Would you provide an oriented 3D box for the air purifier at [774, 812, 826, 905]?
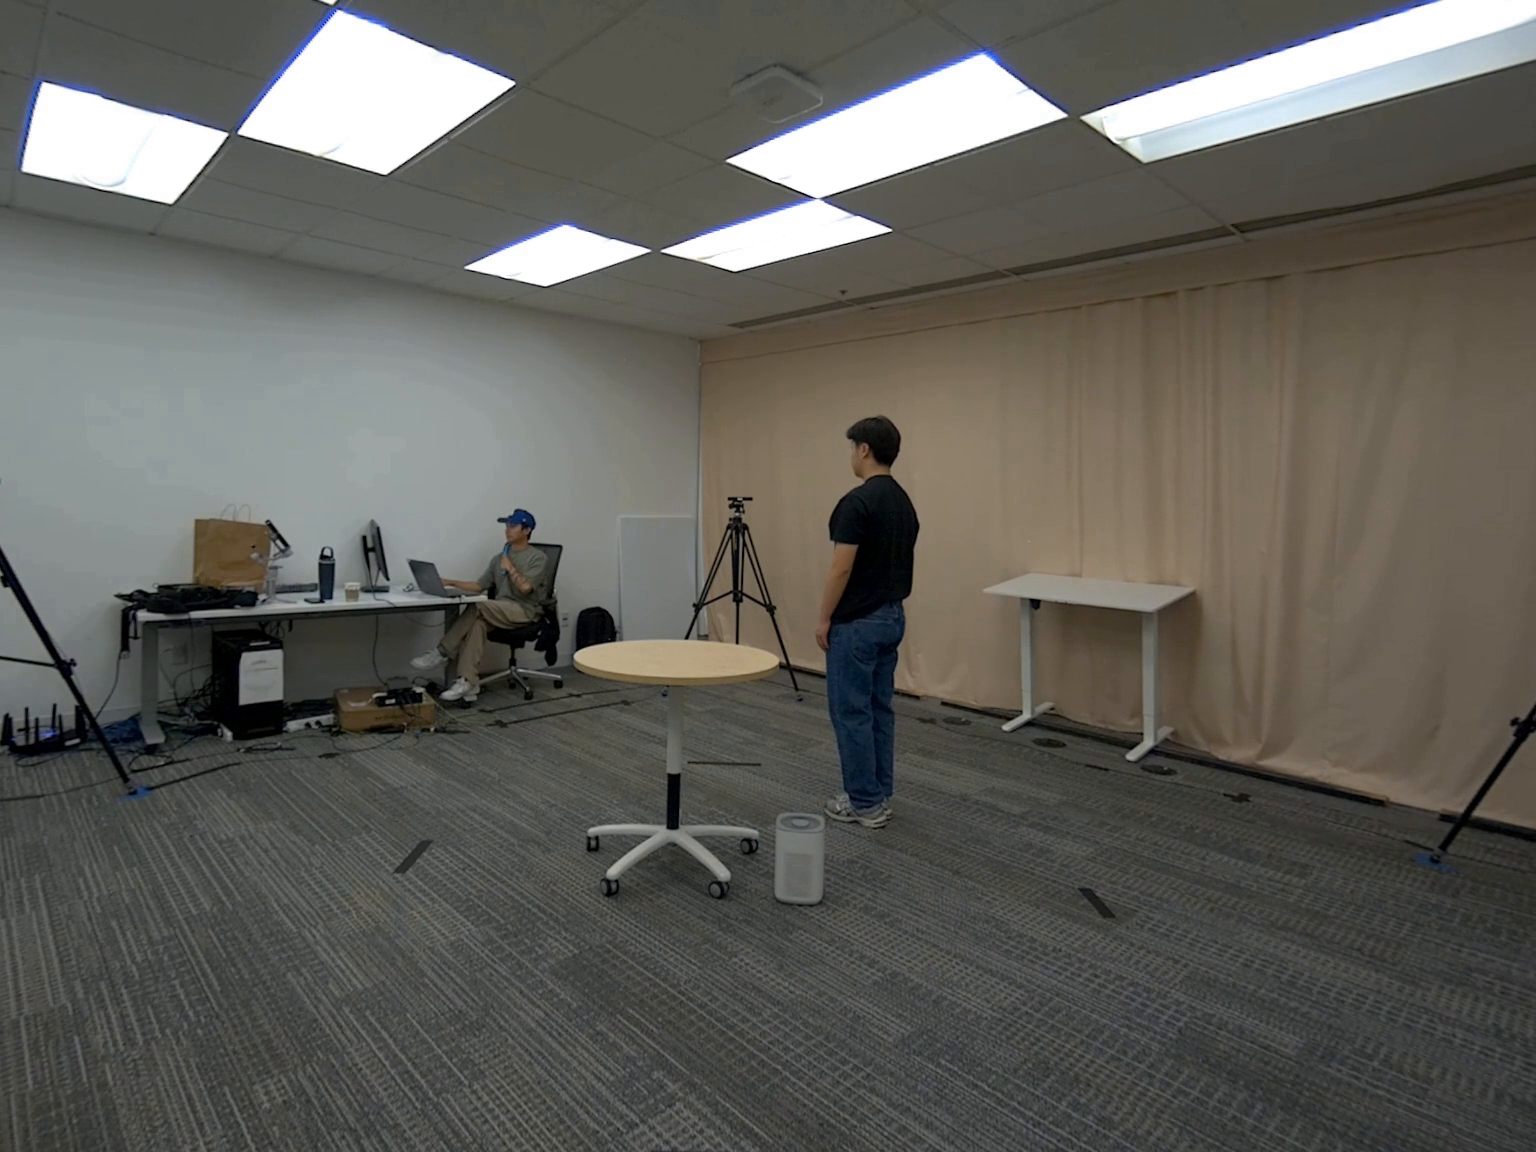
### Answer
[{"bbox_3d":[0.103,0.993,2.953,0.172,0.264,0.171,2,4,5],"label":"air purifier"}]
